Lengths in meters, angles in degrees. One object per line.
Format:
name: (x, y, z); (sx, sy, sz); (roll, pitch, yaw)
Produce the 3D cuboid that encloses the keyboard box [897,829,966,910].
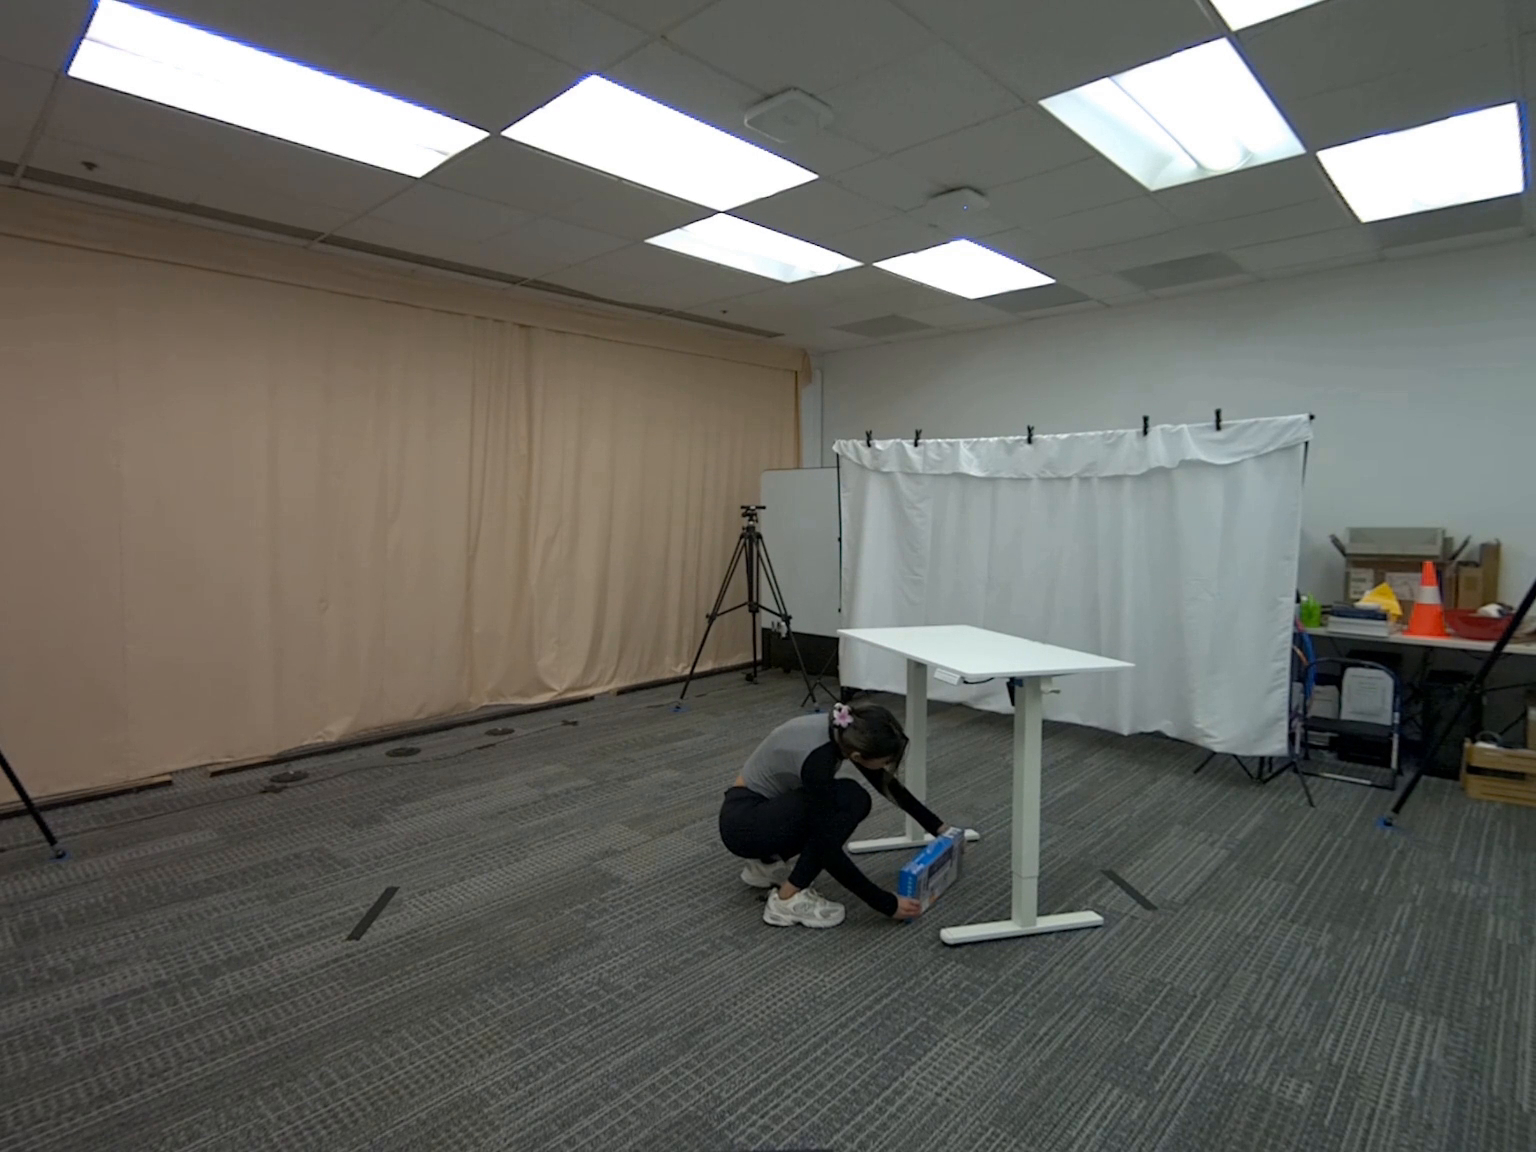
keyboard box: (0.588, 1.052, 2.964); (0.061, 0.175, 0.424); (7, 9, 36)
